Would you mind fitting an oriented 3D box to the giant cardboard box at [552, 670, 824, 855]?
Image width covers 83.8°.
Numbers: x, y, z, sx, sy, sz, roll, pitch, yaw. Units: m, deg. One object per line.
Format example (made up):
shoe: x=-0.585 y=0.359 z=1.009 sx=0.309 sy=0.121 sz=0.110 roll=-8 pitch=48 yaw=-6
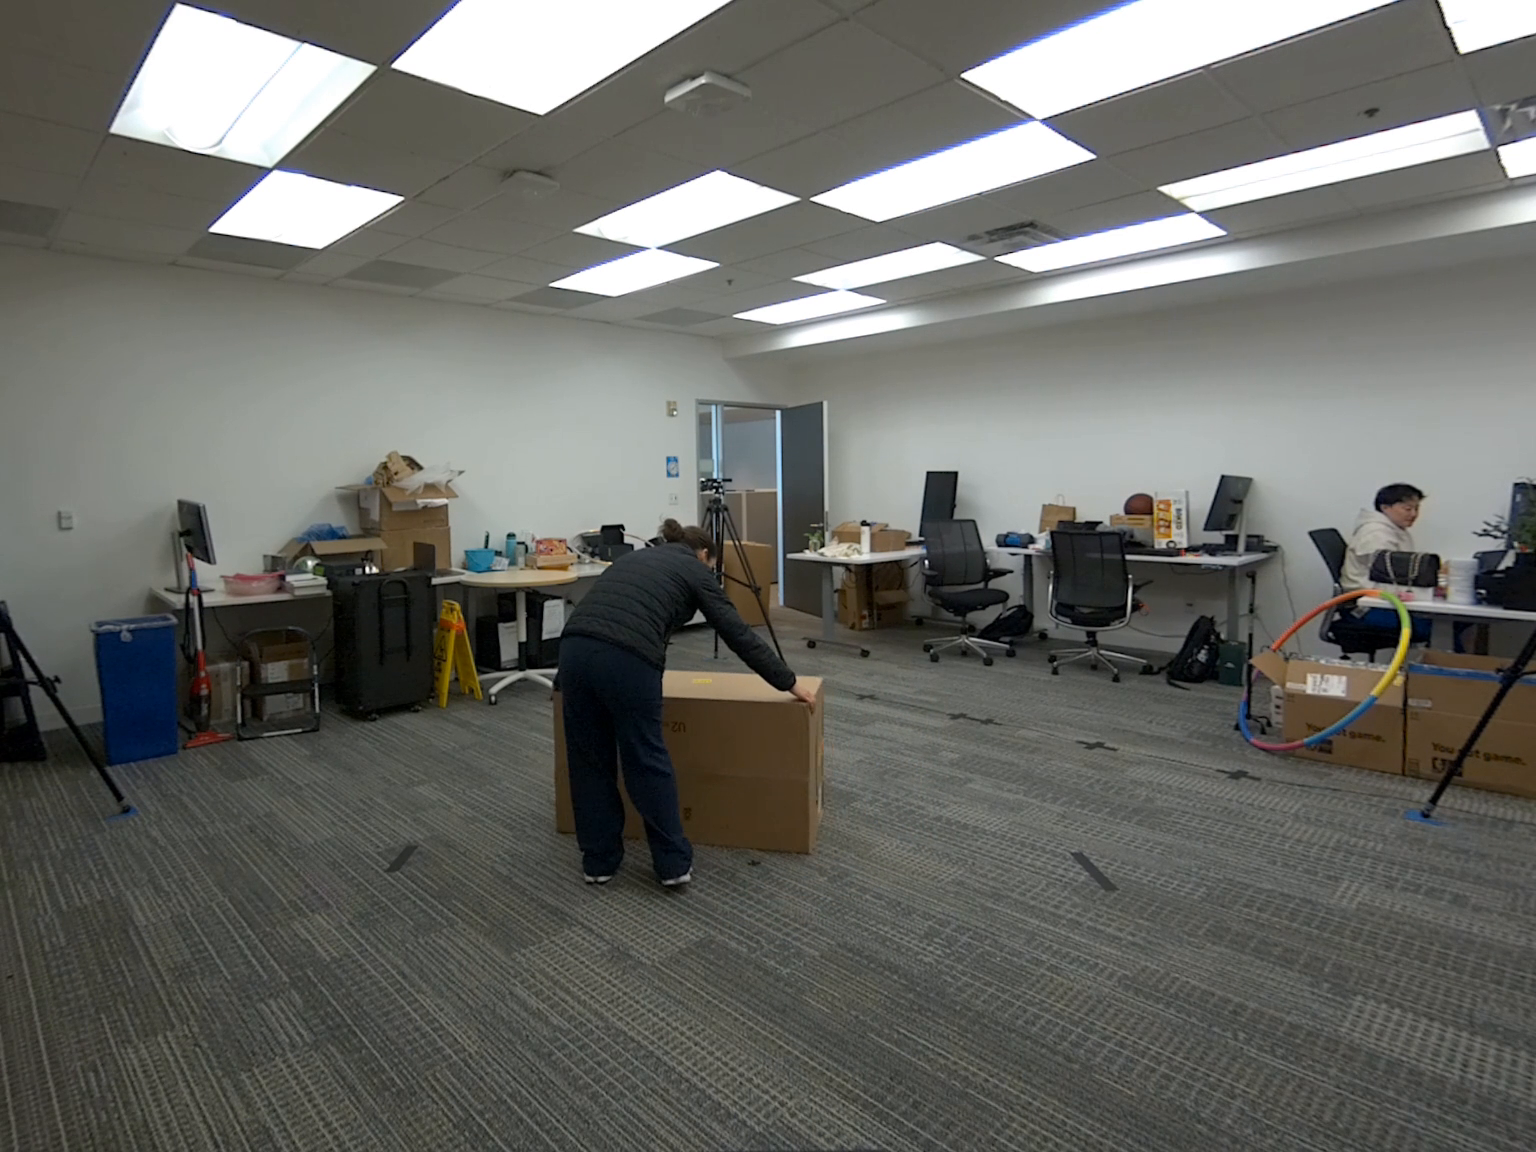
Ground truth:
giant cardboard box: x=-0.306 y=0.718 z=3.483 sx=1.040 sy=0.582 sz=0.443 roll=1 pitch=5 yaw=12
